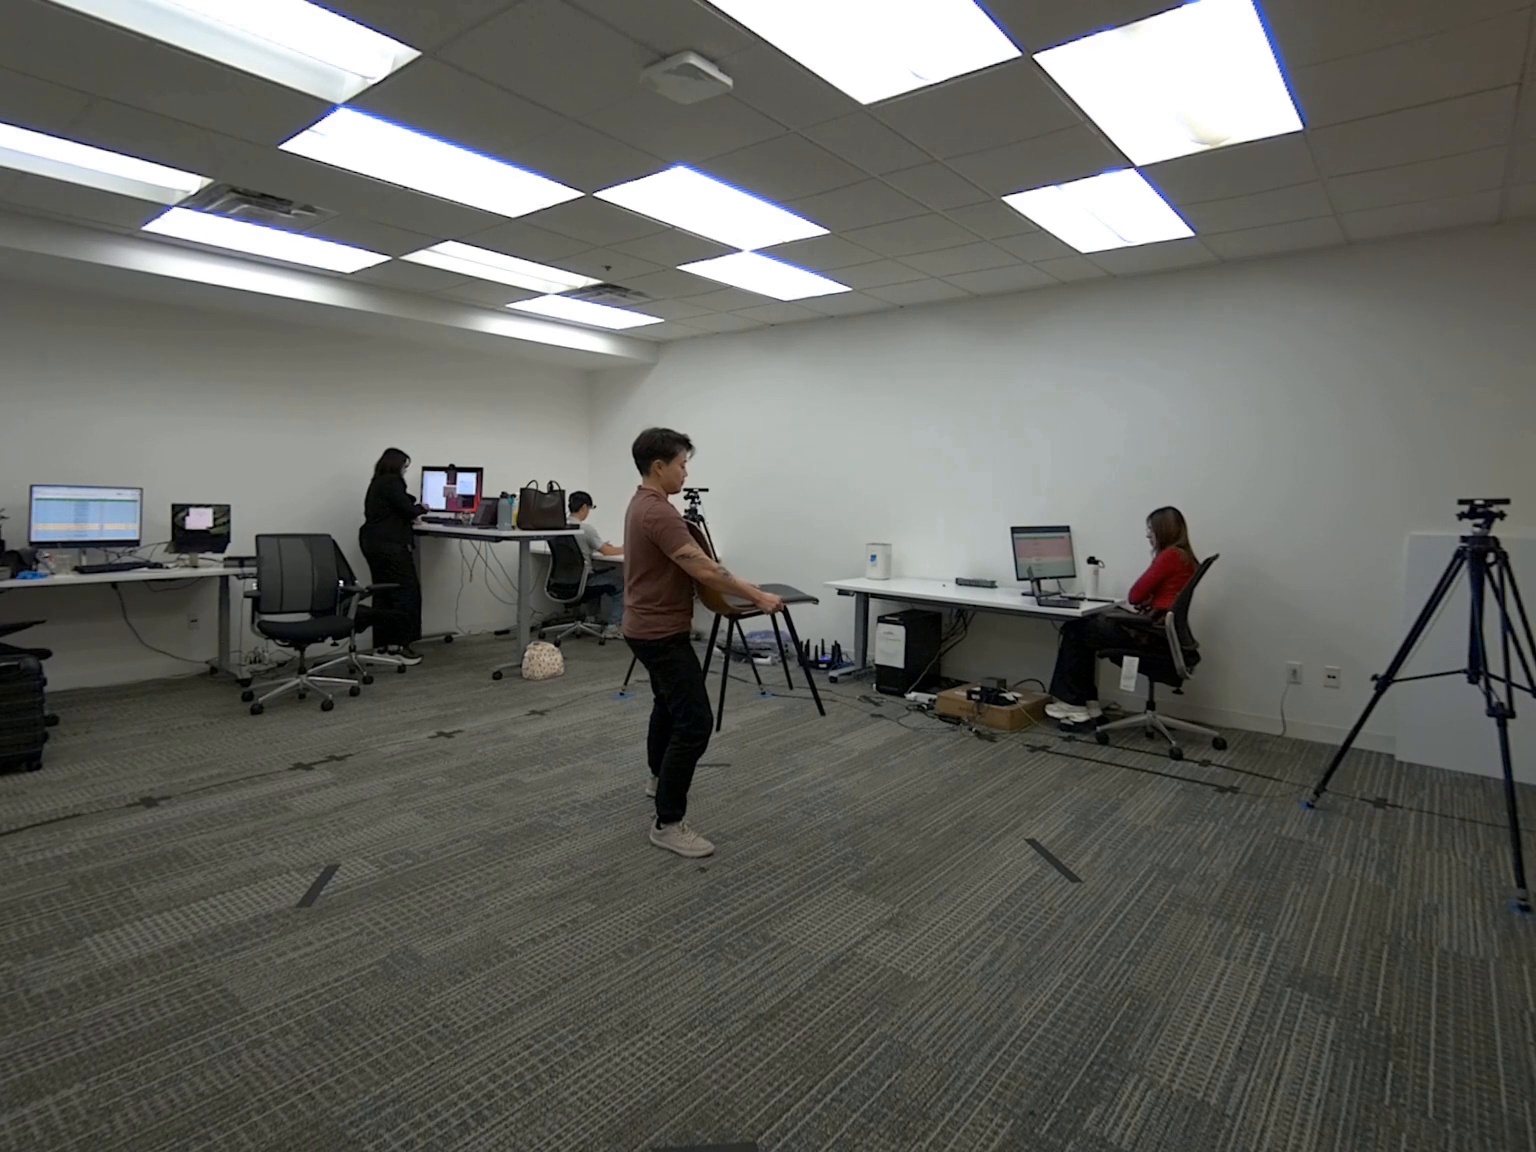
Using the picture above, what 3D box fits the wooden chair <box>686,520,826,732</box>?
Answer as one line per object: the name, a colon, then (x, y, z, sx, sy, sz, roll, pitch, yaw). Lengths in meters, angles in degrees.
wooden chair: (-0.075, 0.142, 3.575, 0.517, 0.872, 0.487, -10, 6, -13)
